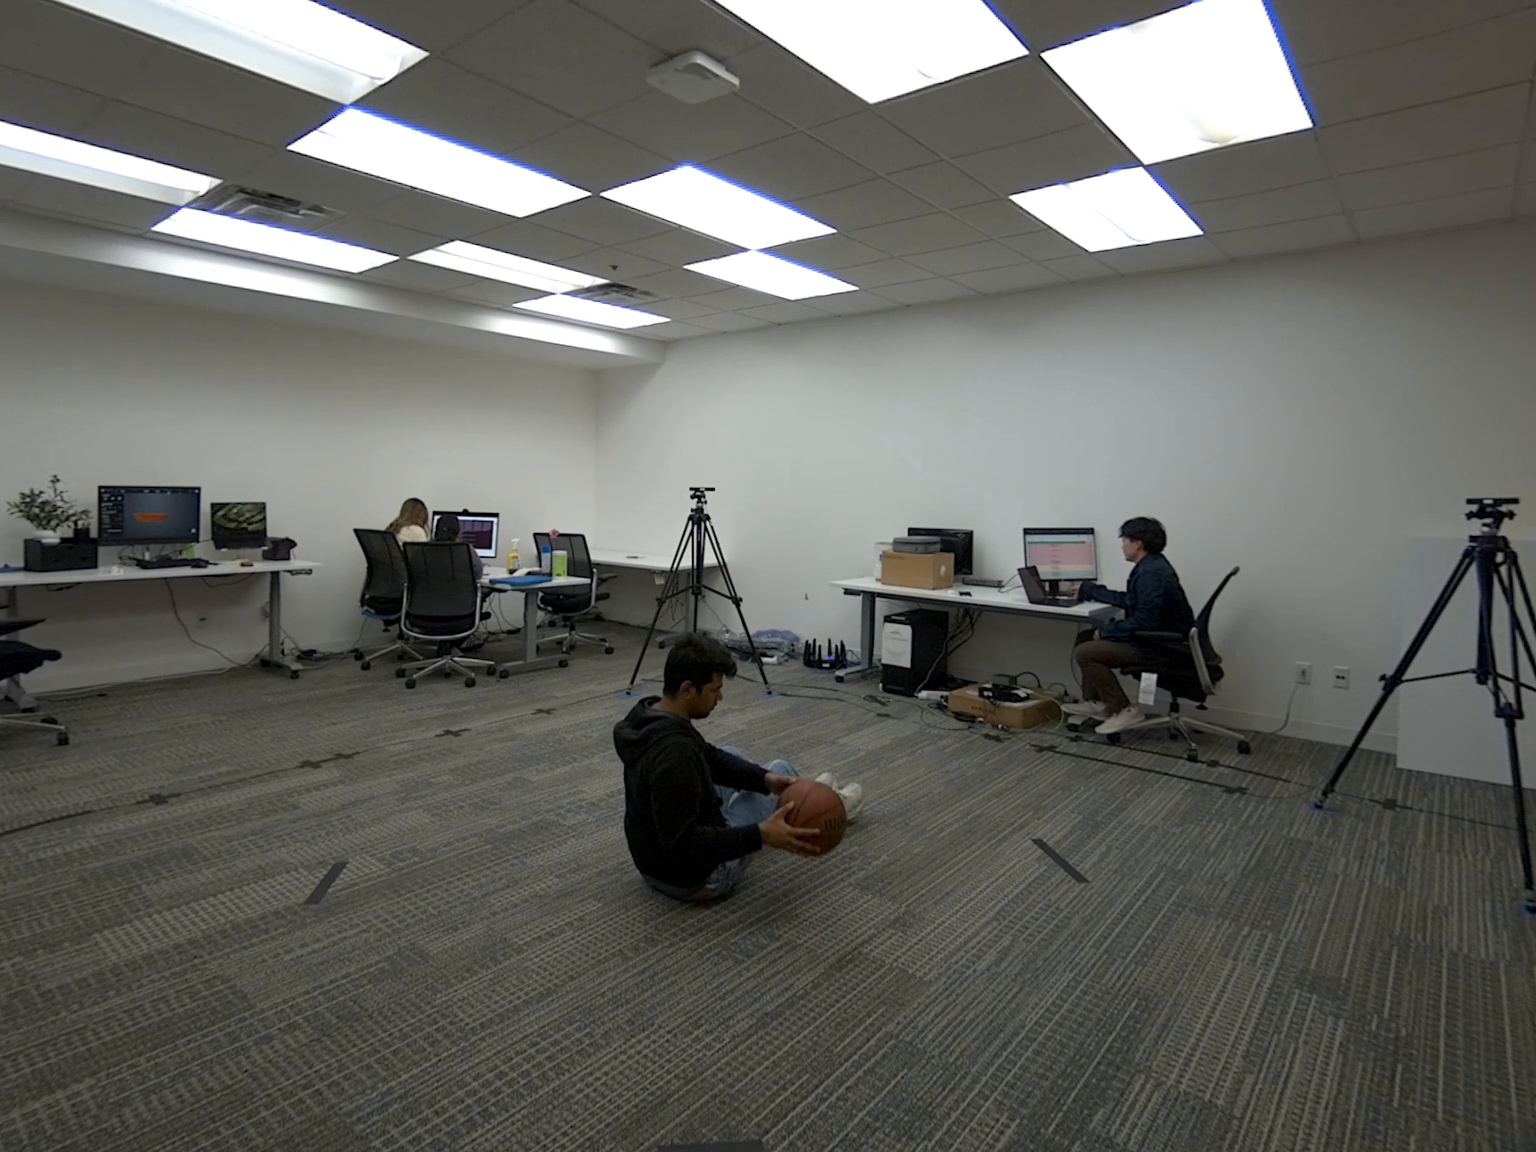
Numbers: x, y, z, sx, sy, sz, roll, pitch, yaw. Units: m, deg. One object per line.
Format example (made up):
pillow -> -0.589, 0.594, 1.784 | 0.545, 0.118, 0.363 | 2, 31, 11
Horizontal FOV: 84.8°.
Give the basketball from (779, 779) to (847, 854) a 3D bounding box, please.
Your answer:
basketball -> 0.118, 0.792, 2.811 | 0.235, 0.235, 0.237 | 1, 4, -2
